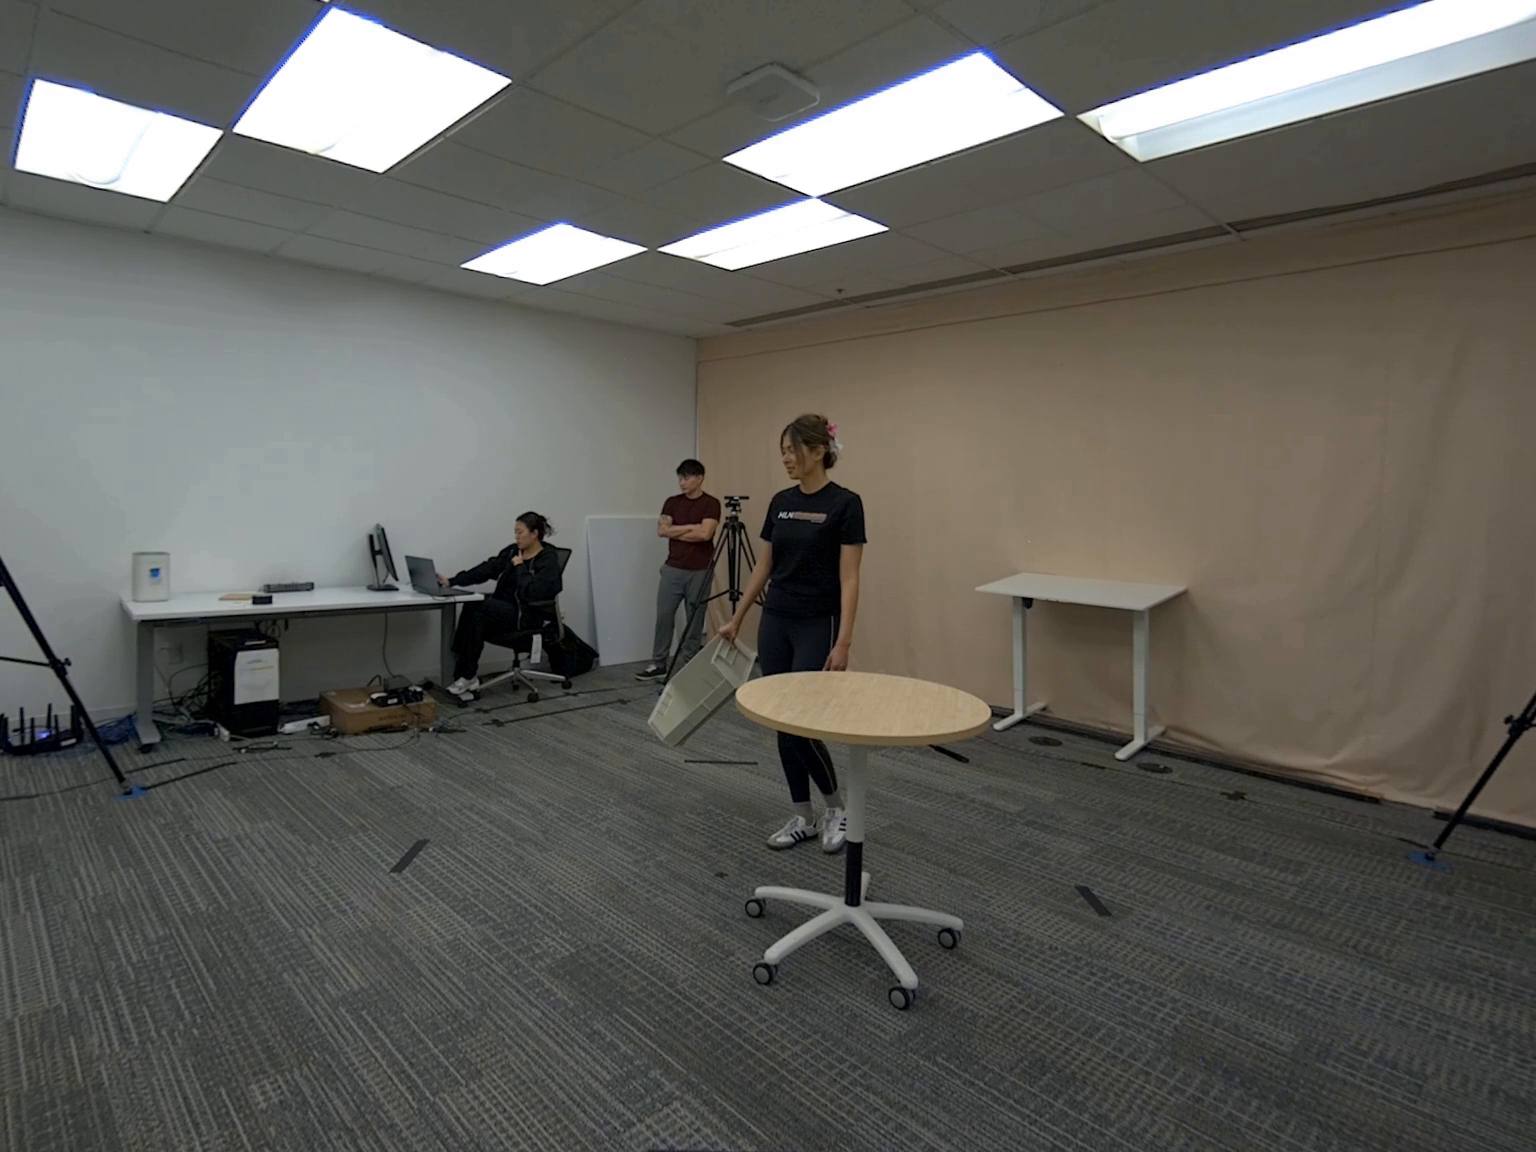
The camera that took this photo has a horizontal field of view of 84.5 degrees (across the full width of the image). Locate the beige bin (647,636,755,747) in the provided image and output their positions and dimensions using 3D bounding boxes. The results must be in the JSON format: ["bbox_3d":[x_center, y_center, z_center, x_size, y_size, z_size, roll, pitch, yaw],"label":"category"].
[{"bbox_3d":[-0.280,0.475,3.564,0.188,0.422,0.379,43,21,-7],"label":"beige bin"}]
